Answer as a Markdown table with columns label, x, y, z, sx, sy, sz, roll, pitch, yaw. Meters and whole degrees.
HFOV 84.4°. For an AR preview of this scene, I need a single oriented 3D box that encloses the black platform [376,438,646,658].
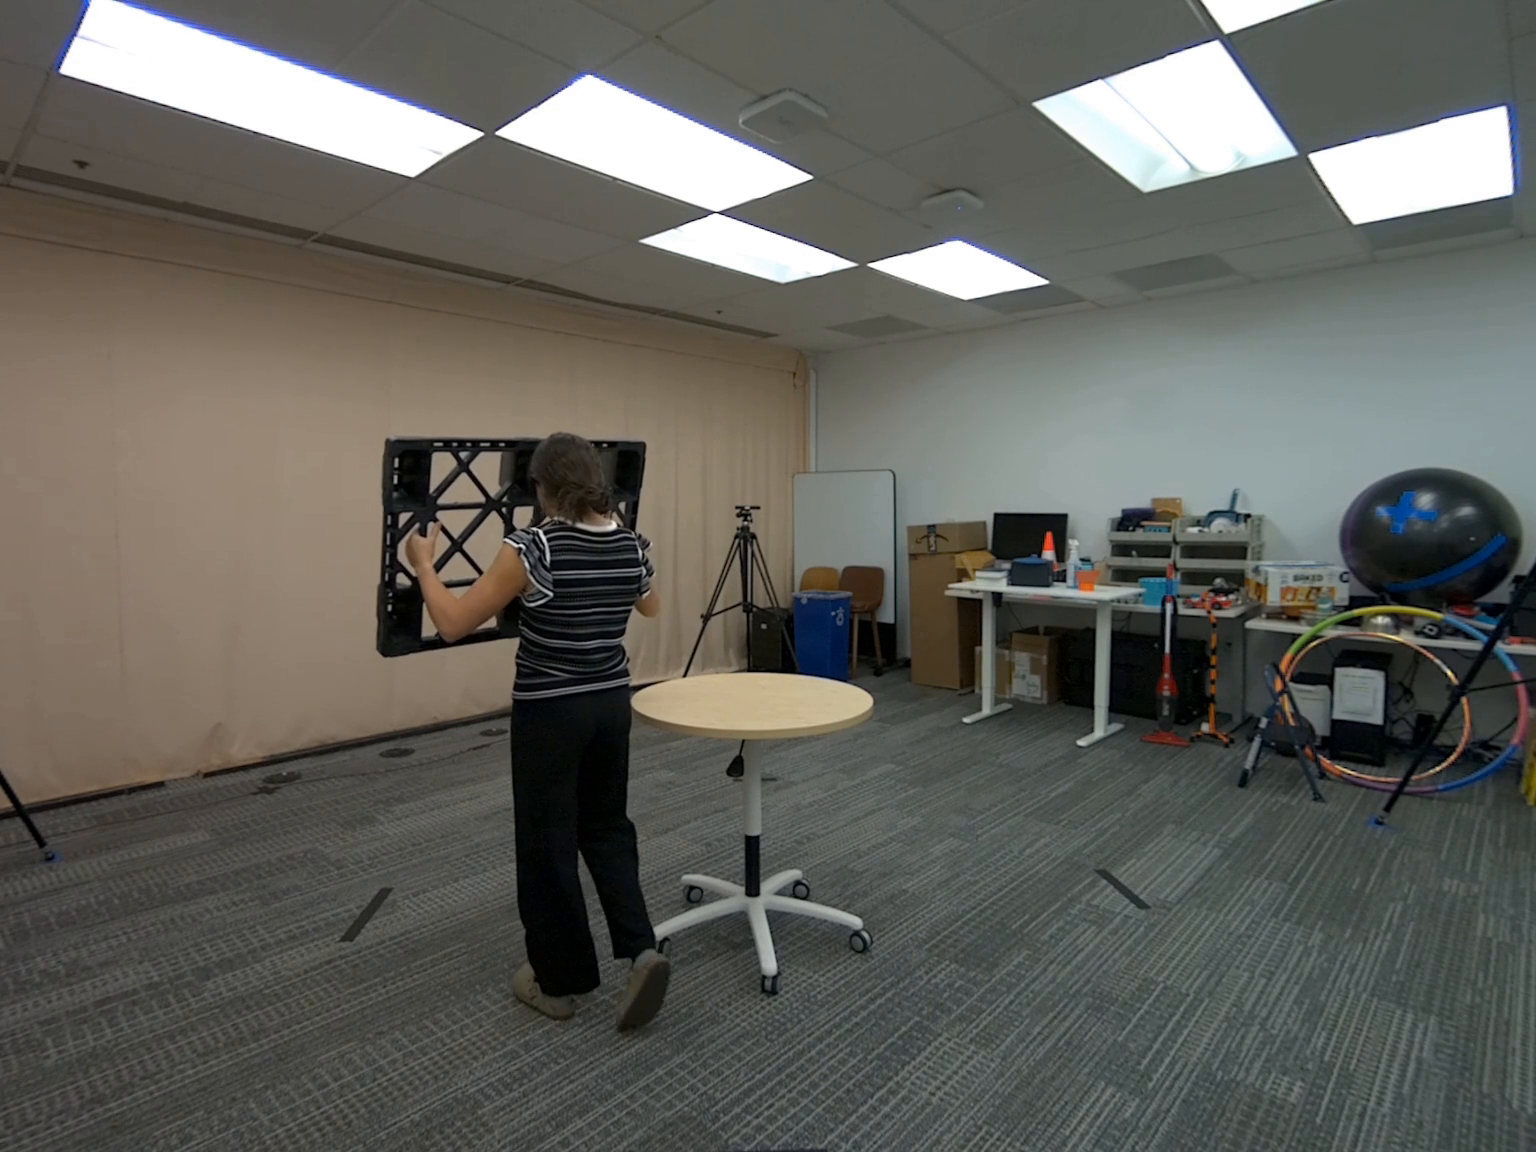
| label | x | y | z | sx | sy | sz | roll | pitch | yaw |
| --- | --- | --- | --- | --- | --- | --- | --- | --- | --- |
| black platform | -0.739 | -0.122 | 2.473 | 0.782 | 0.601 | 0.149 | -6 | 21 | -41 |
